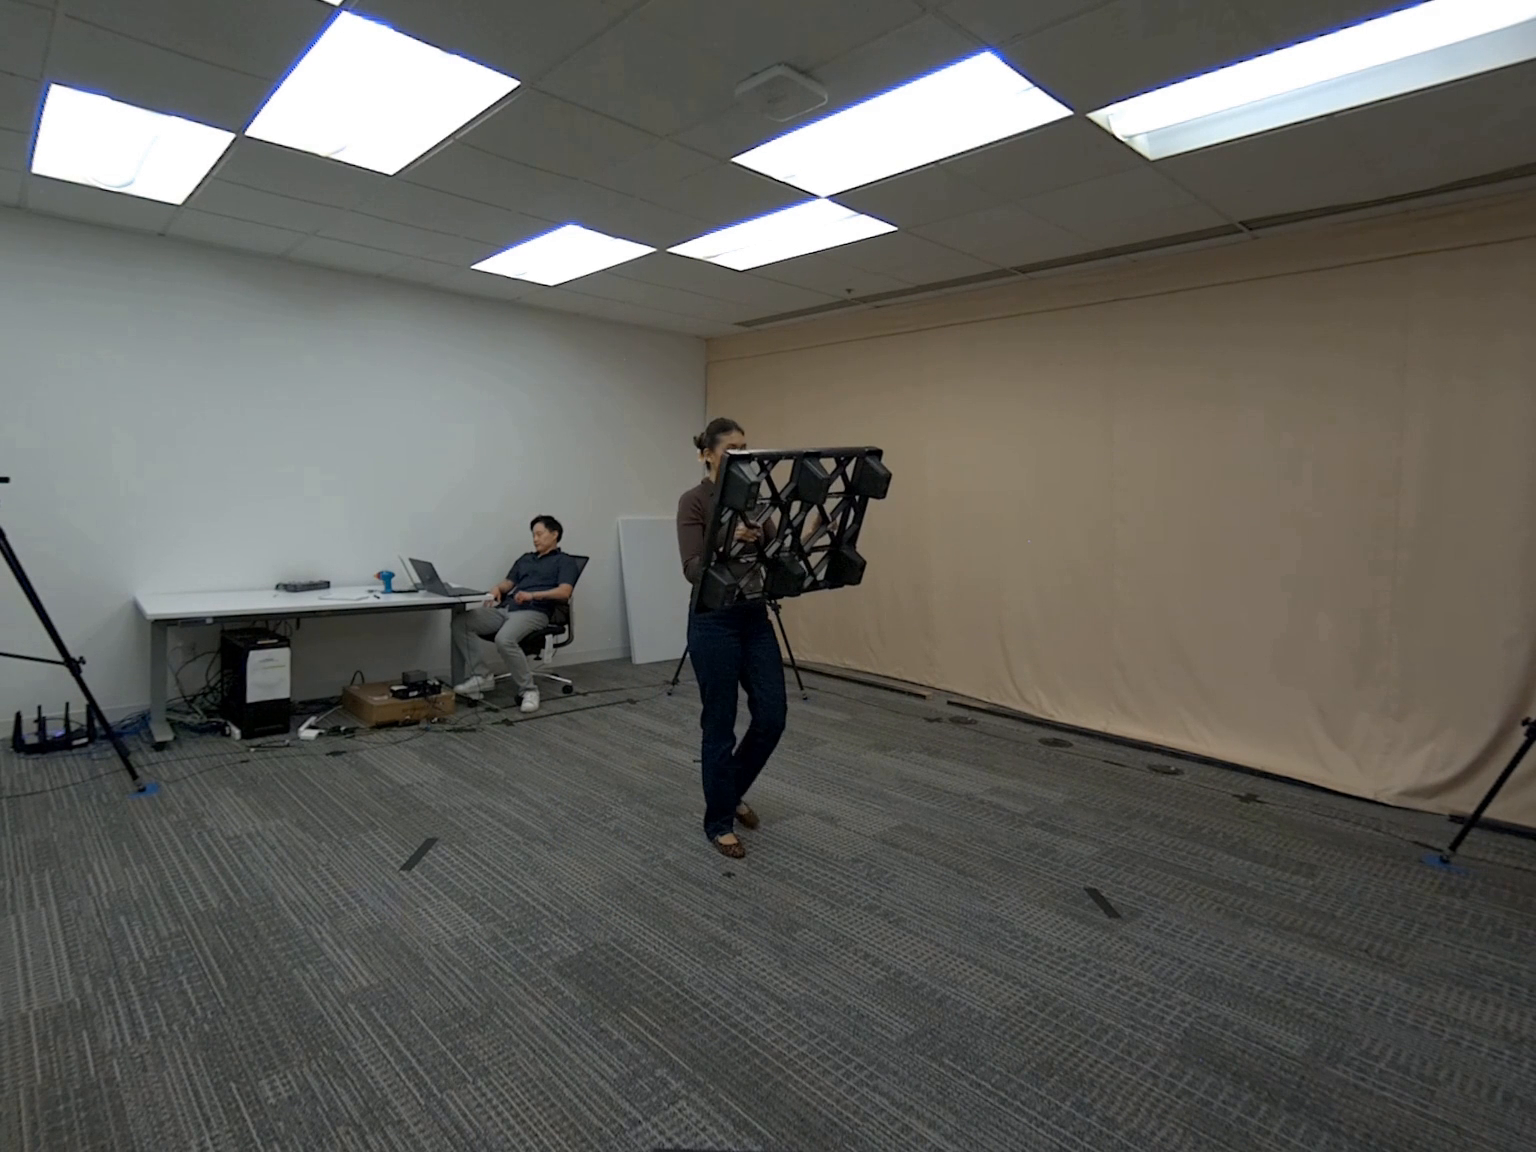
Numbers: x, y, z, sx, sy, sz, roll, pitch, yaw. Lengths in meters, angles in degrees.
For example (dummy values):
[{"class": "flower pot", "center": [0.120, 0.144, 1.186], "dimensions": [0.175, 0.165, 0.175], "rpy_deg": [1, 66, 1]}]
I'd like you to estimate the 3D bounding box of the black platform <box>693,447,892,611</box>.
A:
[{"class": "black platform", "center": [0.112, -0.166, 3.079], "dimensions": [0.789, 0.598, 0.148], "rpy_deg": [-9, 31, -42]}]
